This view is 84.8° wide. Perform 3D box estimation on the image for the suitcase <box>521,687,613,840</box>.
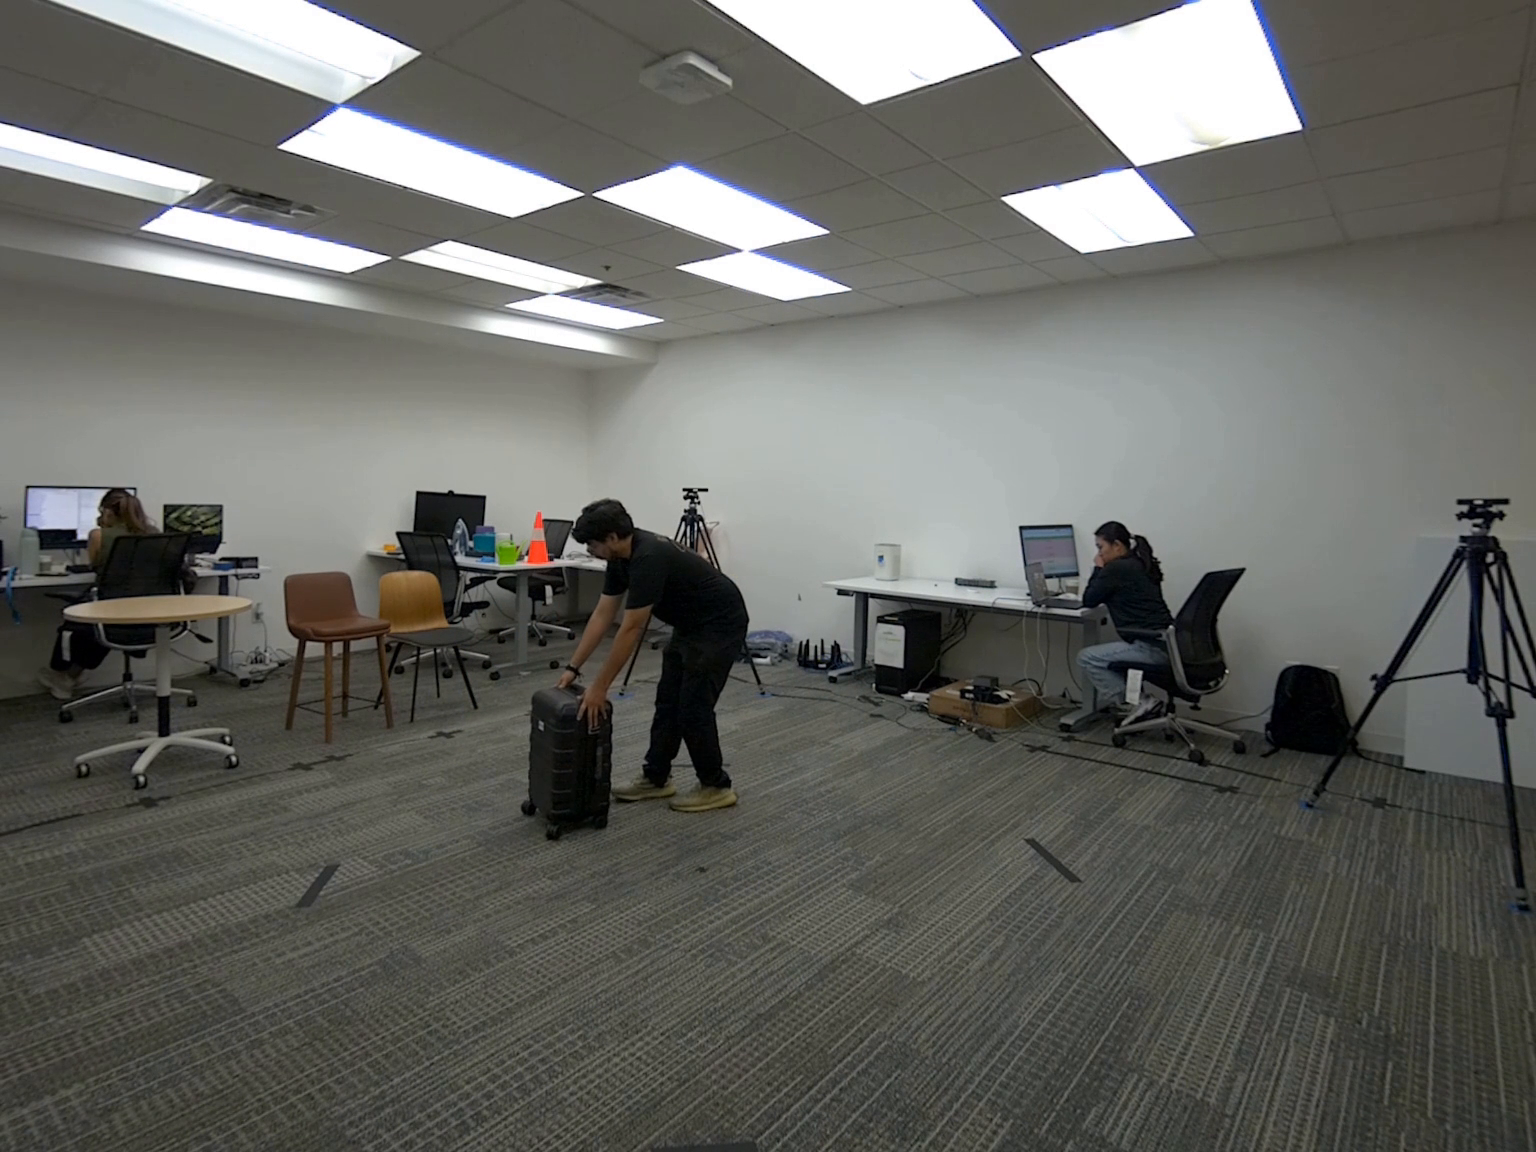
[{"bbox_3d":[-0.840,0.746,3.543,0.241,0.549,0.387,1,2,-34],"label":"suitcase"}]
